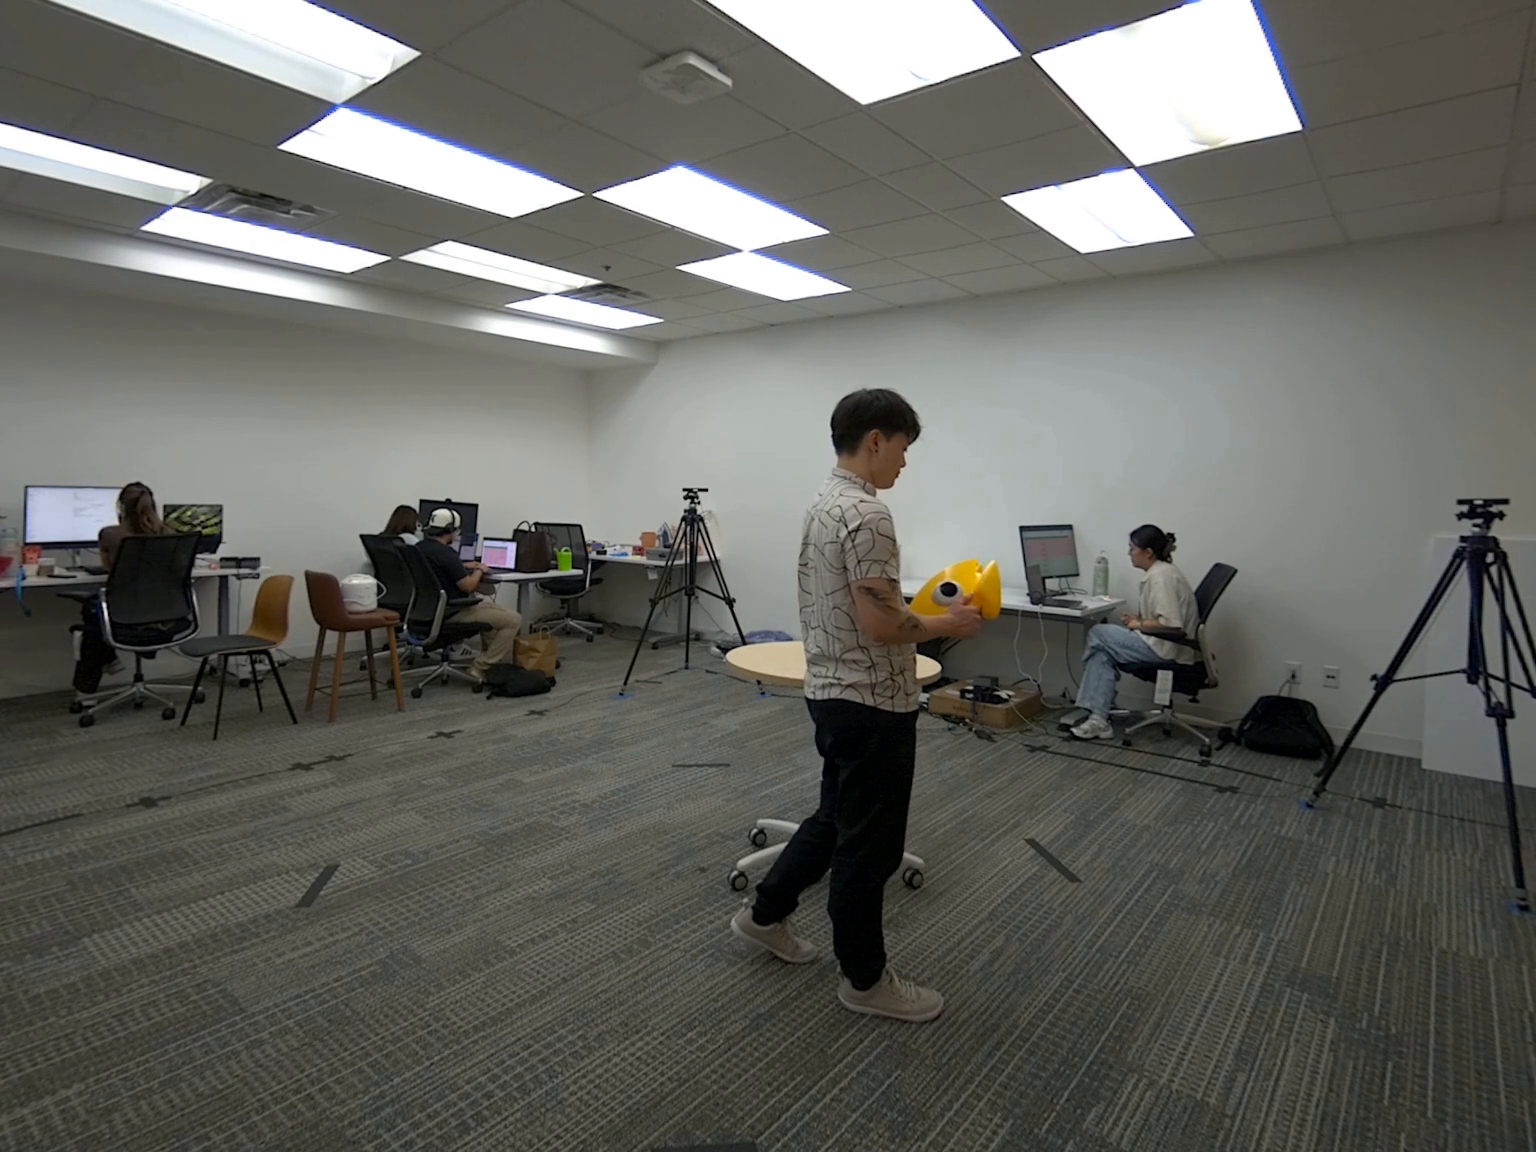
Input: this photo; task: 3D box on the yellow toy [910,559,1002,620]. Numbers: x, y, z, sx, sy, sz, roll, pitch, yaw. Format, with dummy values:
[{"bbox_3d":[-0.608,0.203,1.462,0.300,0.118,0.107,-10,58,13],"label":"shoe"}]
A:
[{"bbox_3d":[0.480,0.049,2.333,0.230,0.194,0.205,0,-3,-4],"label":"yellow toy"}]
